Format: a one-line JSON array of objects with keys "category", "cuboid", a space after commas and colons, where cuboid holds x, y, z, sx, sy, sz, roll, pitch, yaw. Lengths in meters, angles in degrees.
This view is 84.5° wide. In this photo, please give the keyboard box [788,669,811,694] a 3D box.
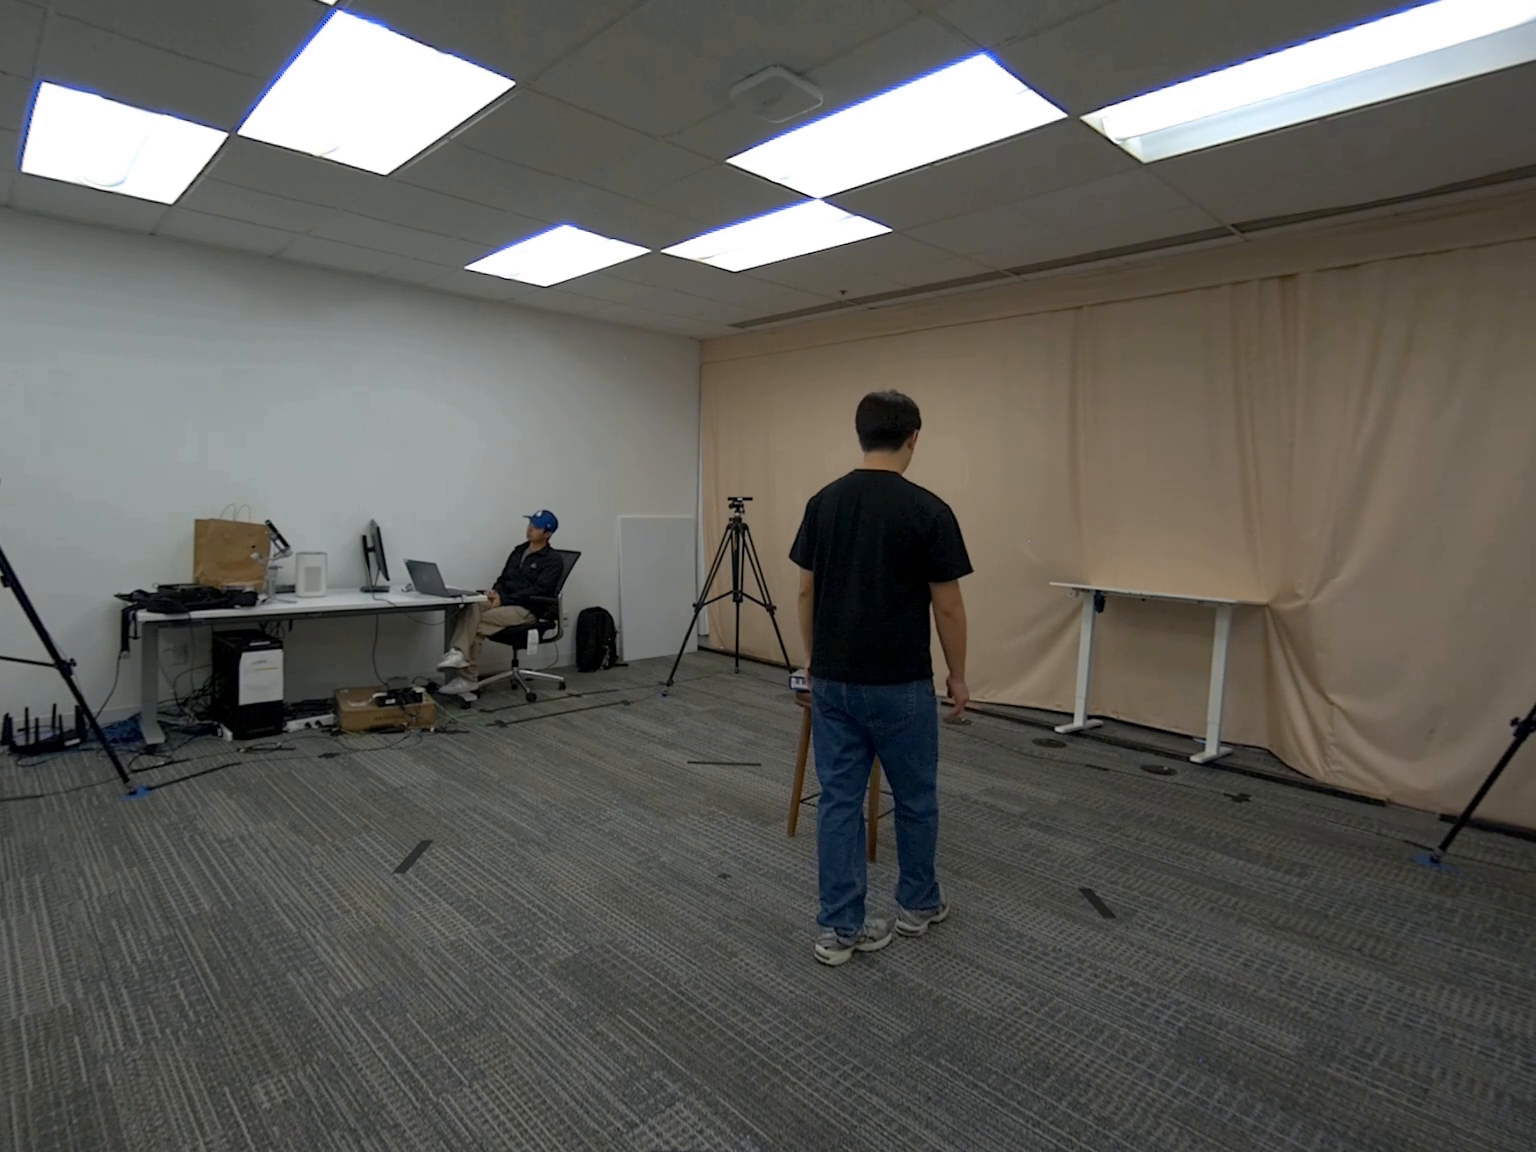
[{"category": "keyboard box", "cuboid": [0.313, 0.443, 3.465, 0.444, 0.059, 0.173, 3, 3, 19]}]
